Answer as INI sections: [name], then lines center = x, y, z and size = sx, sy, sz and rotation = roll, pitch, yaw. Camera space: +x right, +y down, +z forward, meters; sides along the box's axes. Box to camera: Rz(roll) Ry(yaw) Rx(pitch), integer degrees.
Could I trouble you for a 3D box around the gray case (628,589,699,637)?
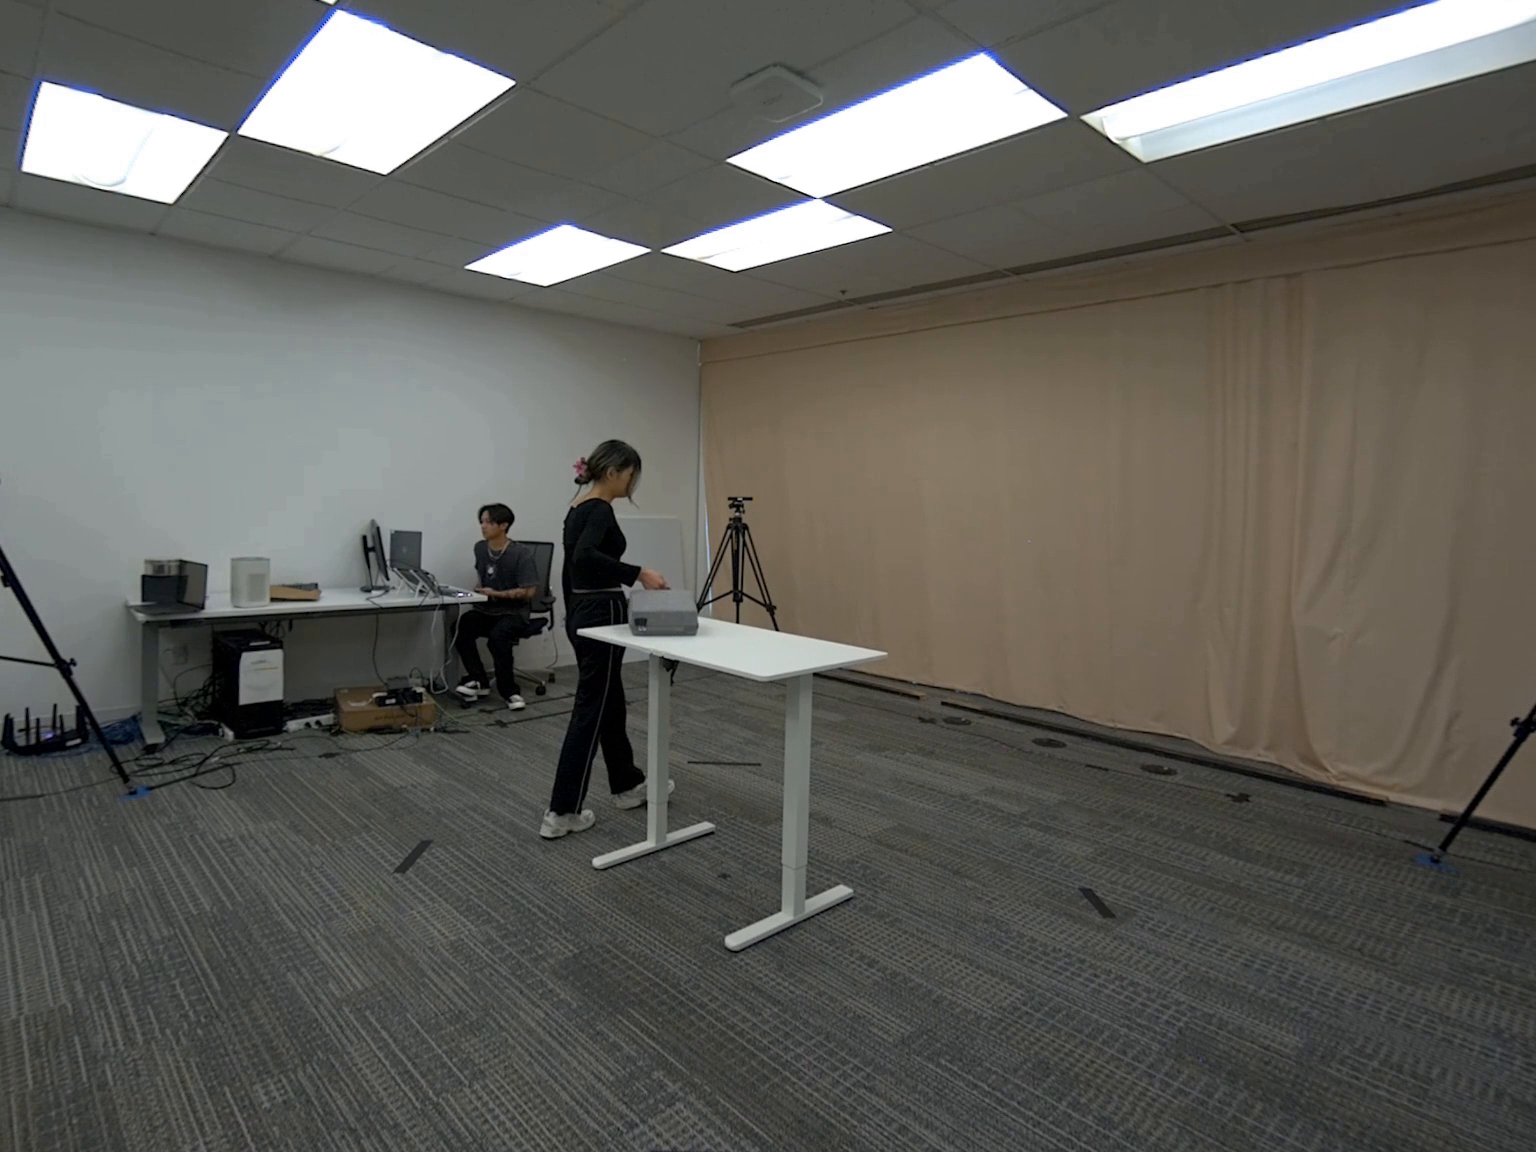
[gray case]
center = -0.404, 0.135, 3.173
size = 0.255, 0.103, 0.265
rotation = -1, 18, -9
